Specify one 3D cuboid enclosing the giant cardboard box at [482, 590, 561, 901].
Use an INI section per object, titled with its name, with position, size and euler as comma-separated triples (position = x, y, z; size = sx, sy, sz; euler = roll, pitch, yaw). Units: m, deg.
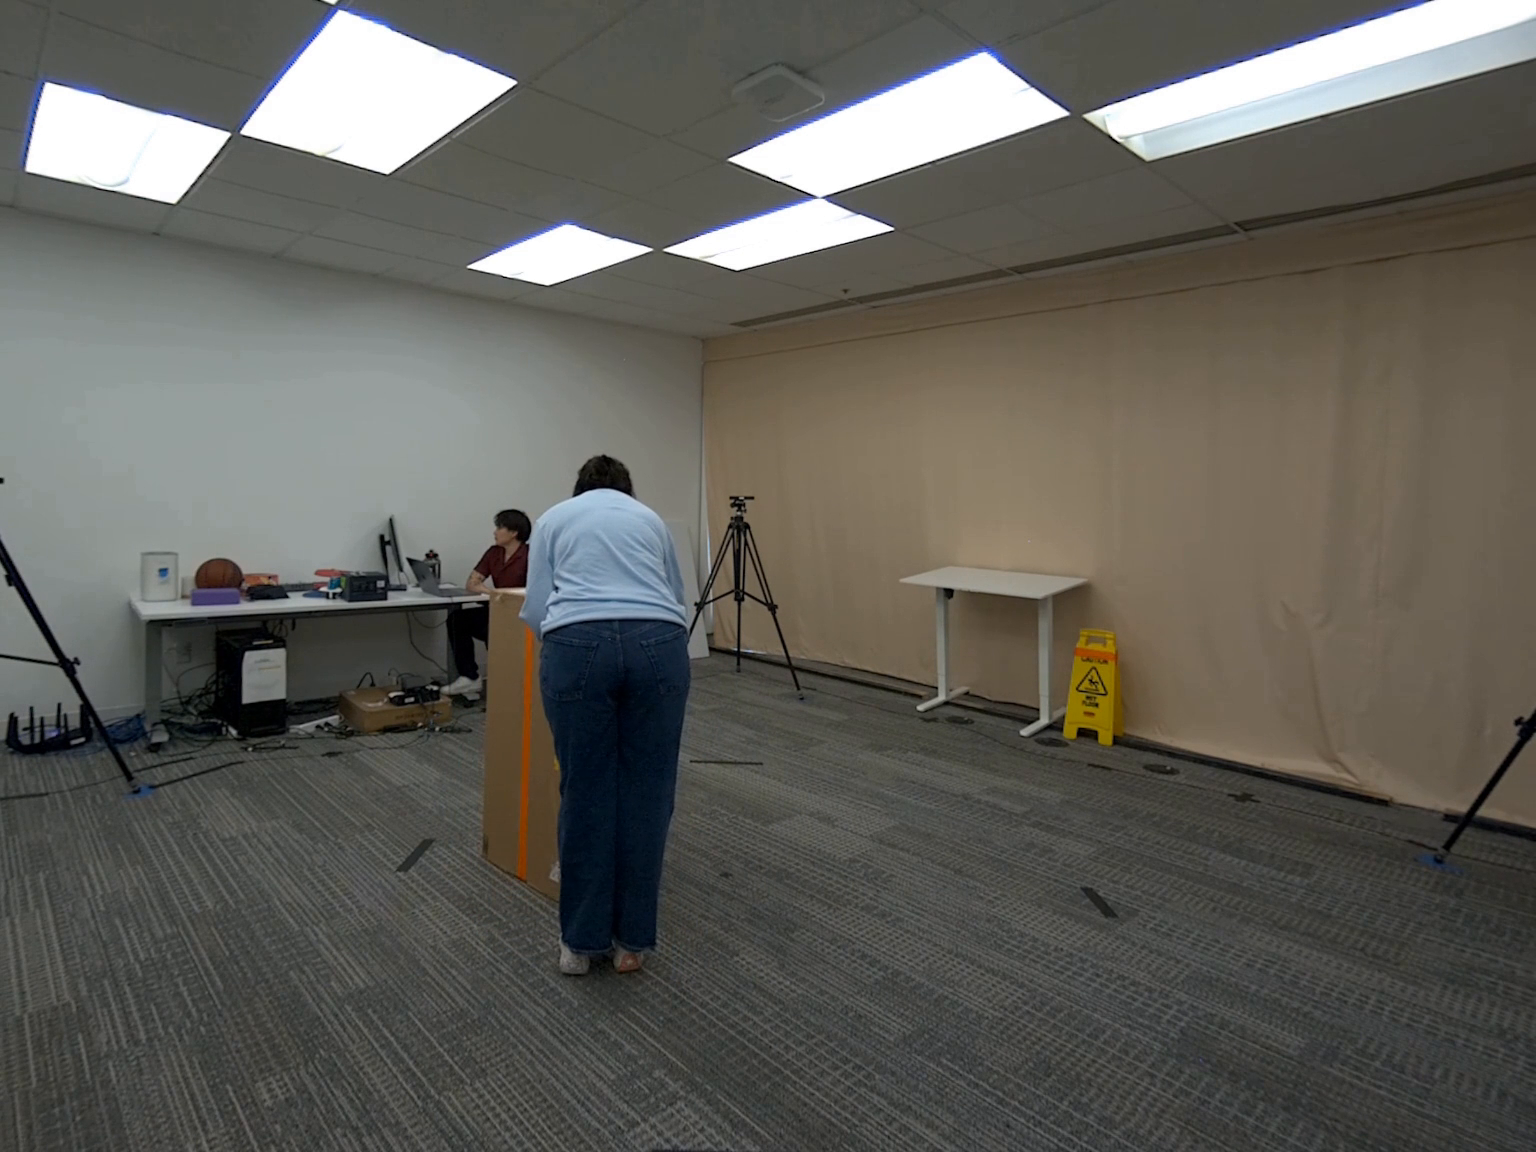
[giant cardboard box]
position = -0.734, 0.581, 3.149
size = 0.592, 1.024, 0.416
euler = 4, 3, 43
